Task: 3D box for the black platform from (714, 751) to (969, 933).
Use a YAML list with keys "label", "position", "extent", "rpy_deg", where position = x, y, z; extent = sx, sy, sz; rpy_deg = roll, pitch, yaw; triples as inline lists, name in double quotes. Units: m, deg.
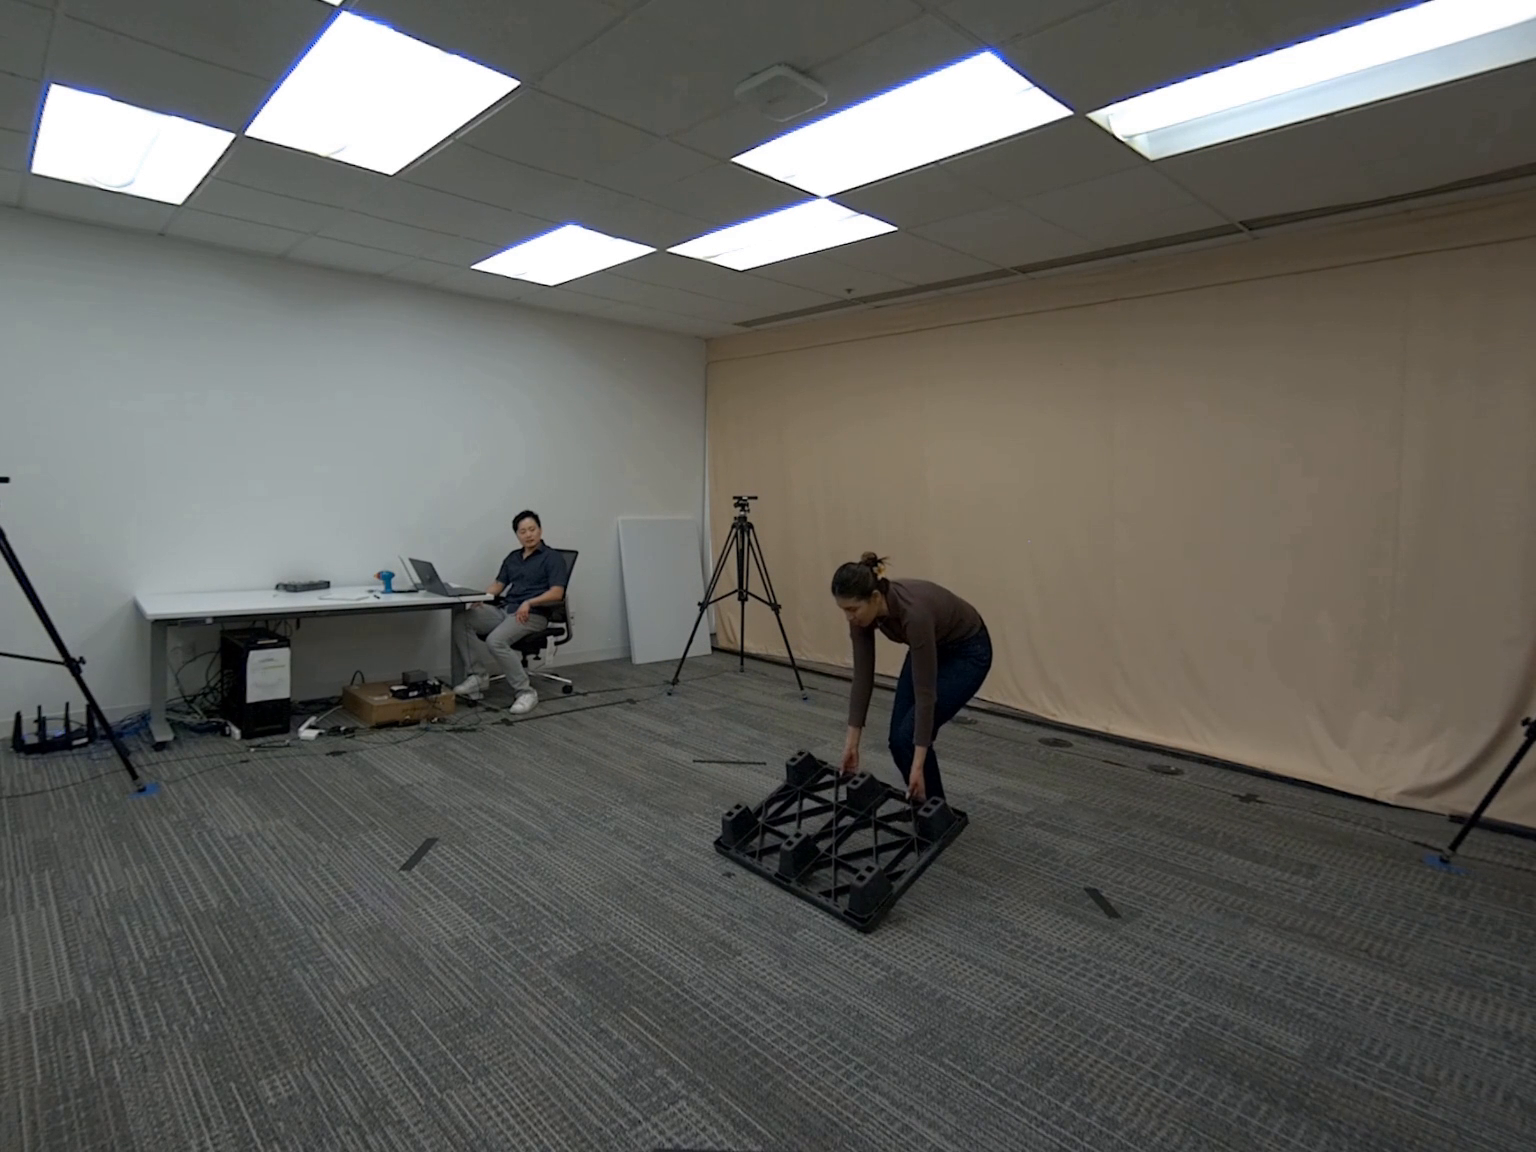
- label: "black platform"
  position: [0.229, 0.927, 3.141]
  extent: [0.600, 0.141, 0.826]
  rpy_deg: [-32, 25, -34]
